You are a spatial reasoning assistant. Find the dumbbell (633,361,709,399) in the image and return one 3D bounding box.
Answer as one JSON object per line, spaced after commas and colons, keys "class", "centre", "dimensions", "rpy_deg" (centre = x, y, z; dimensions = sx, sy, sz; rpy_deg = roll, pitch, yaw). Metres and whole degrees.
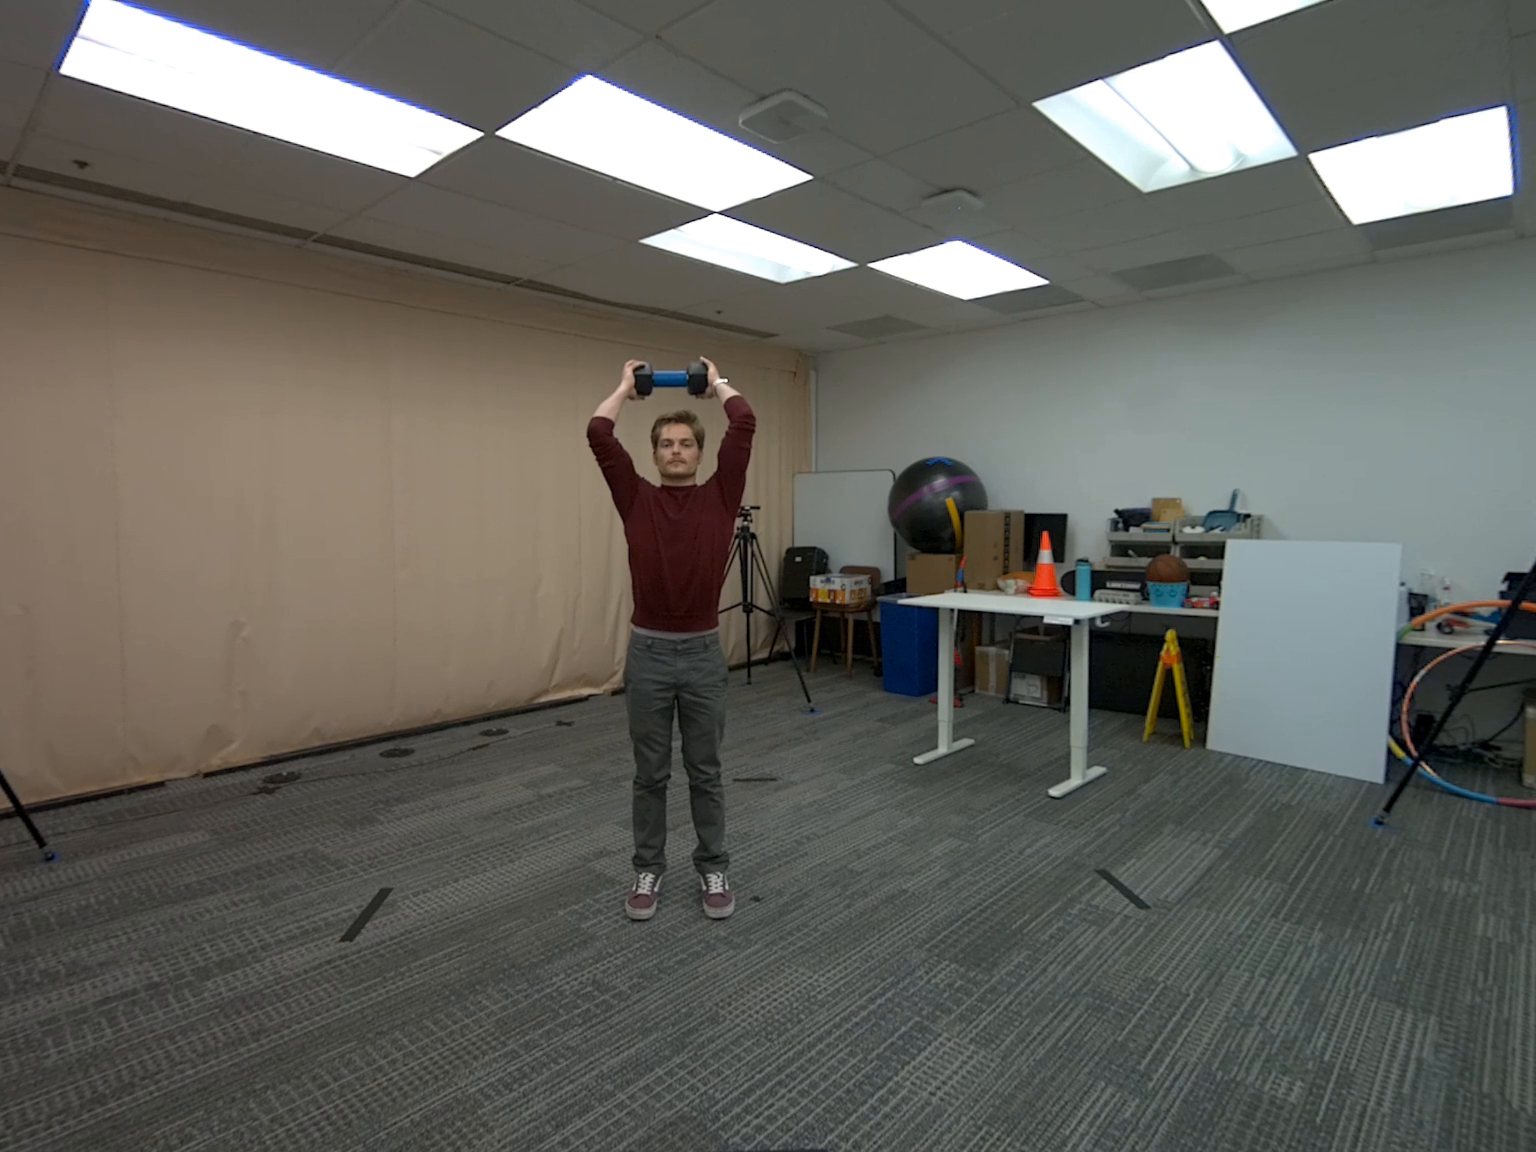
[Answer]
{"class": "dumbbell", "centre": [-0.358, -0.720, 3.073], "dimensions": [0.291, 0.109, 0.123], "rpy_deg": [-3, -9, -8]}
